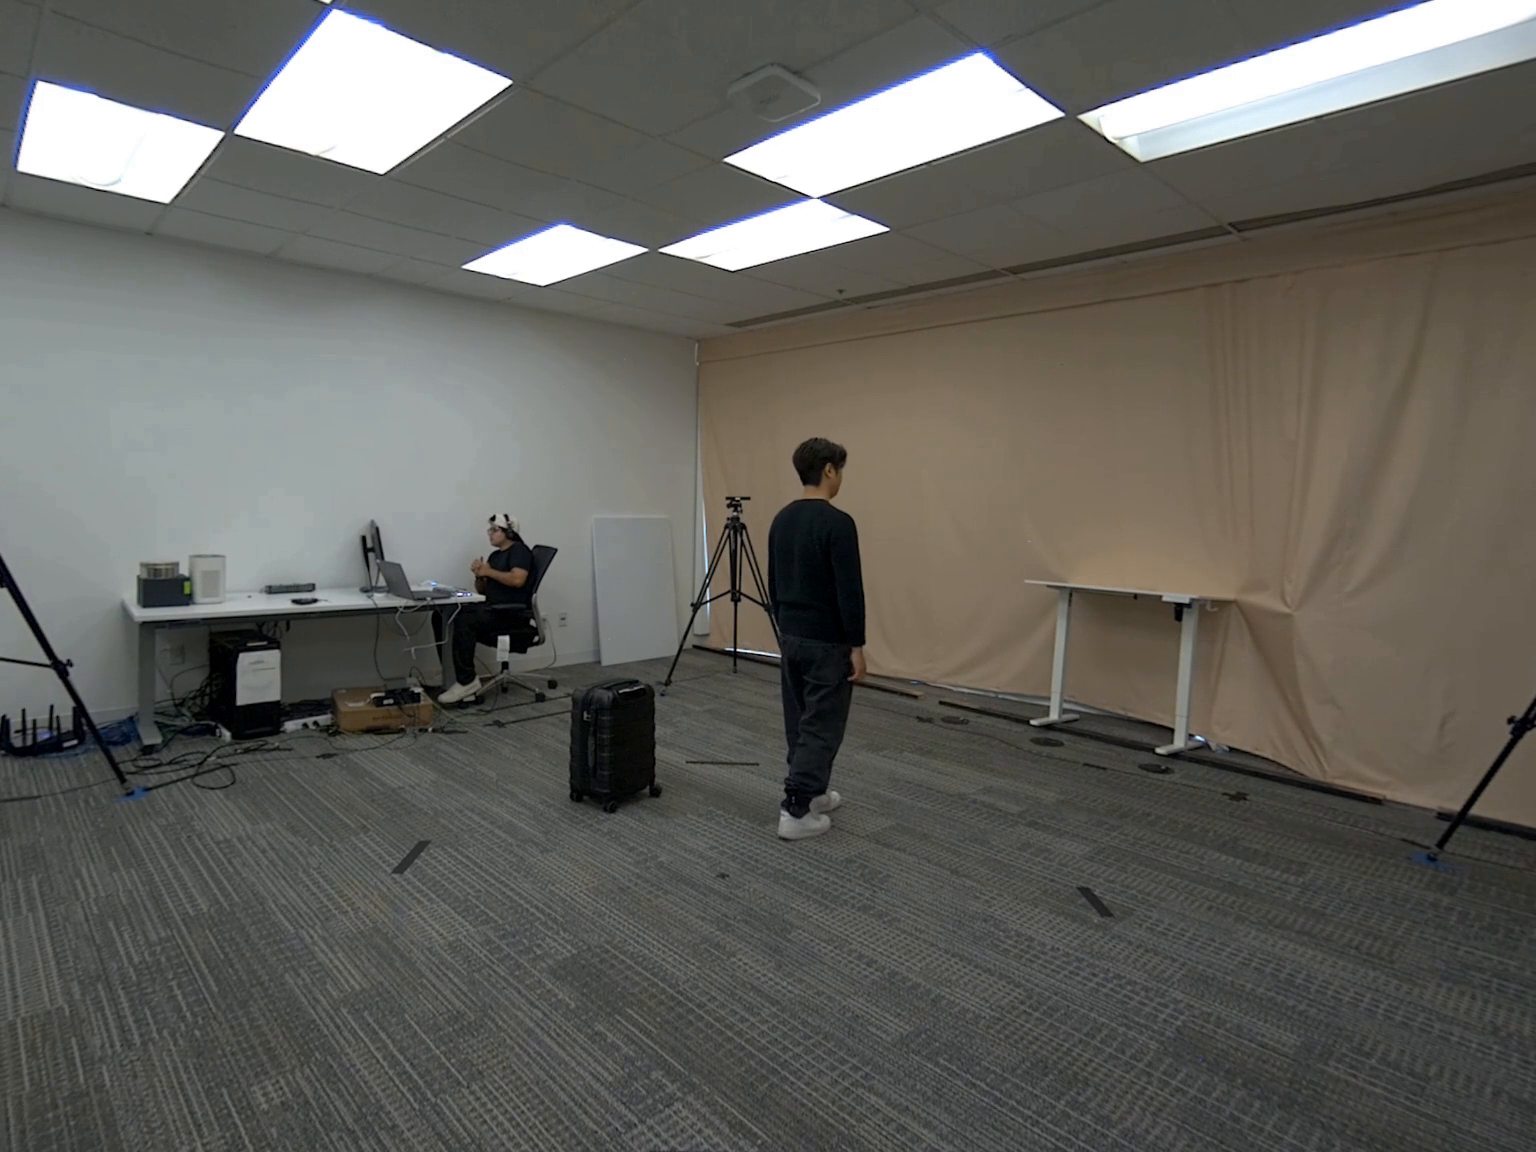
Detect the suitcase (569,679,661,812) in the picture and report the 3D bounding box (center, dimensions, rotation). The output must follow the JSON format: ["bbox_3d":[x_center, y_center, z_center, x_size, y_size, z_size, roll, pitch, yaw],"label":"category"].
[{"bbox_3d":[-0.711,0.747,3.854,0.254,0.548,0.367,3,4,37],"label":"suitcase"}]
